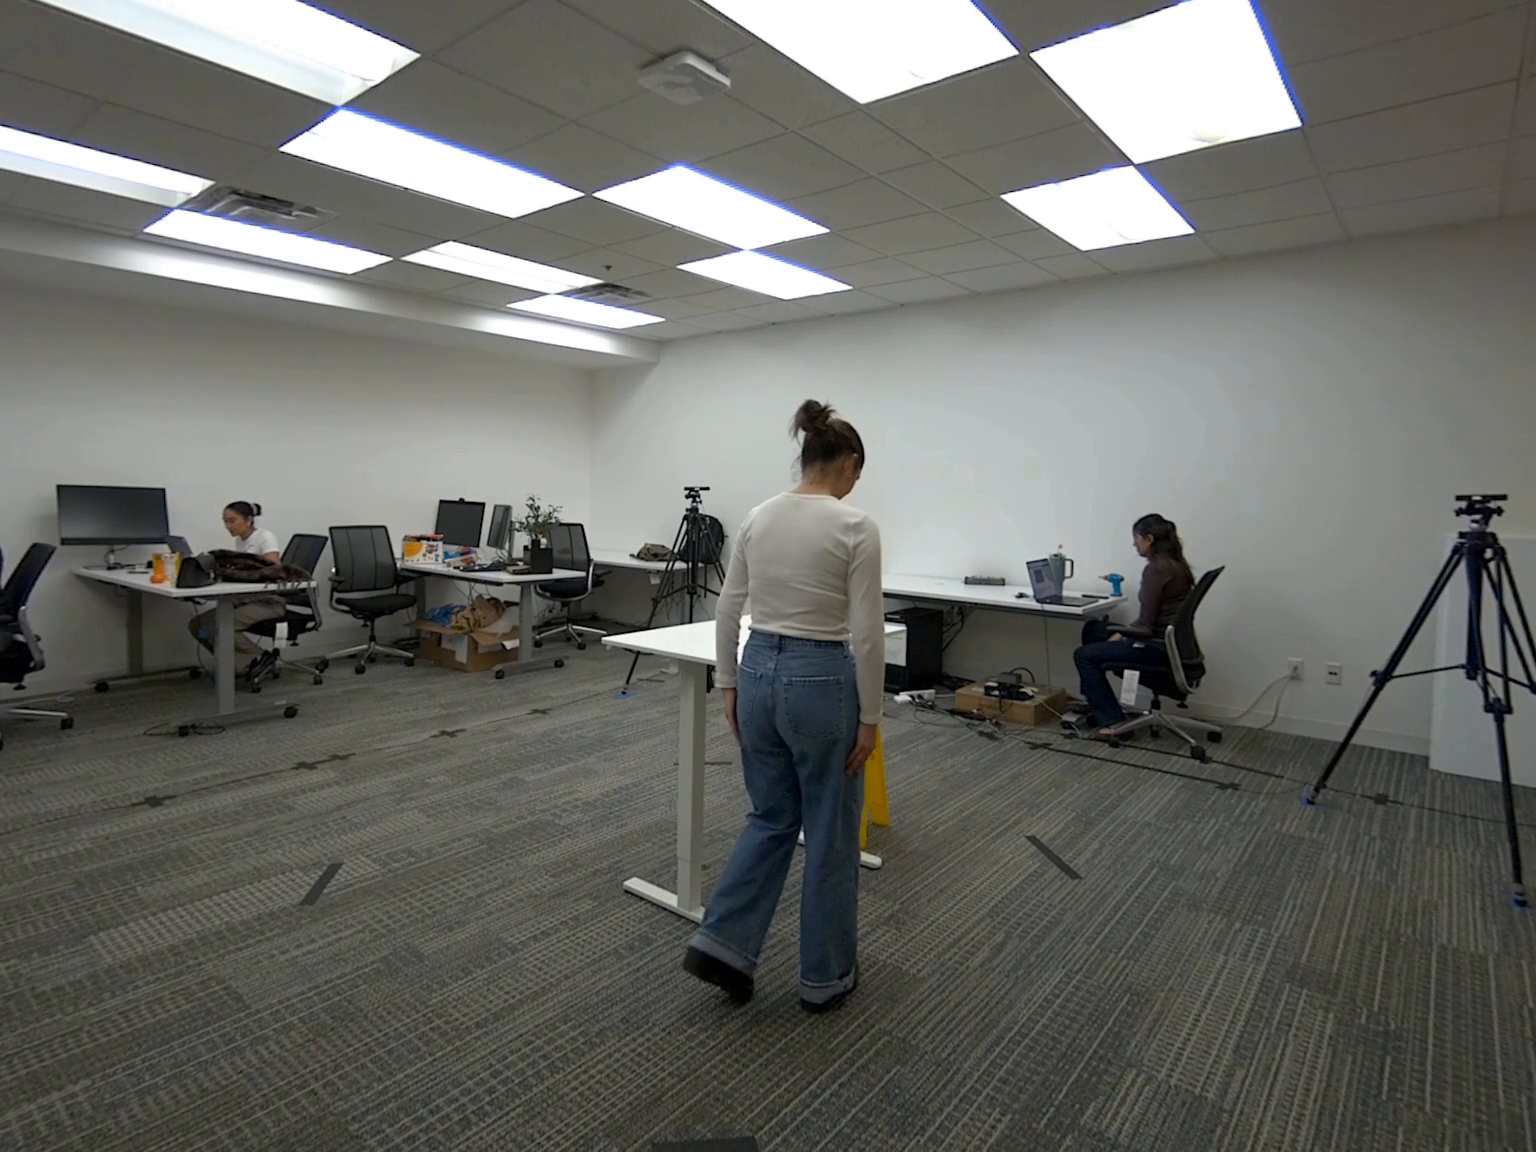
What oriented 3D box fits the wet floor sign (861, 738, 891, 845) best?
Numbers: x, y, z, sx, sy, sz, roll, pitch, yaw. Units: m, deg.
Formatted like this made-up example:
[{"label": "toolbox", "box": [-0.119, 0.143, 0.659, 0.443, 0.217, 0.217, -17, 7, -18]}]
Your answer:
[{"label": "wet floor sign", "box": [0.322, 0.712, 3.474, 0.291, 0.644, 0.282, 4, 3, 30]}]
